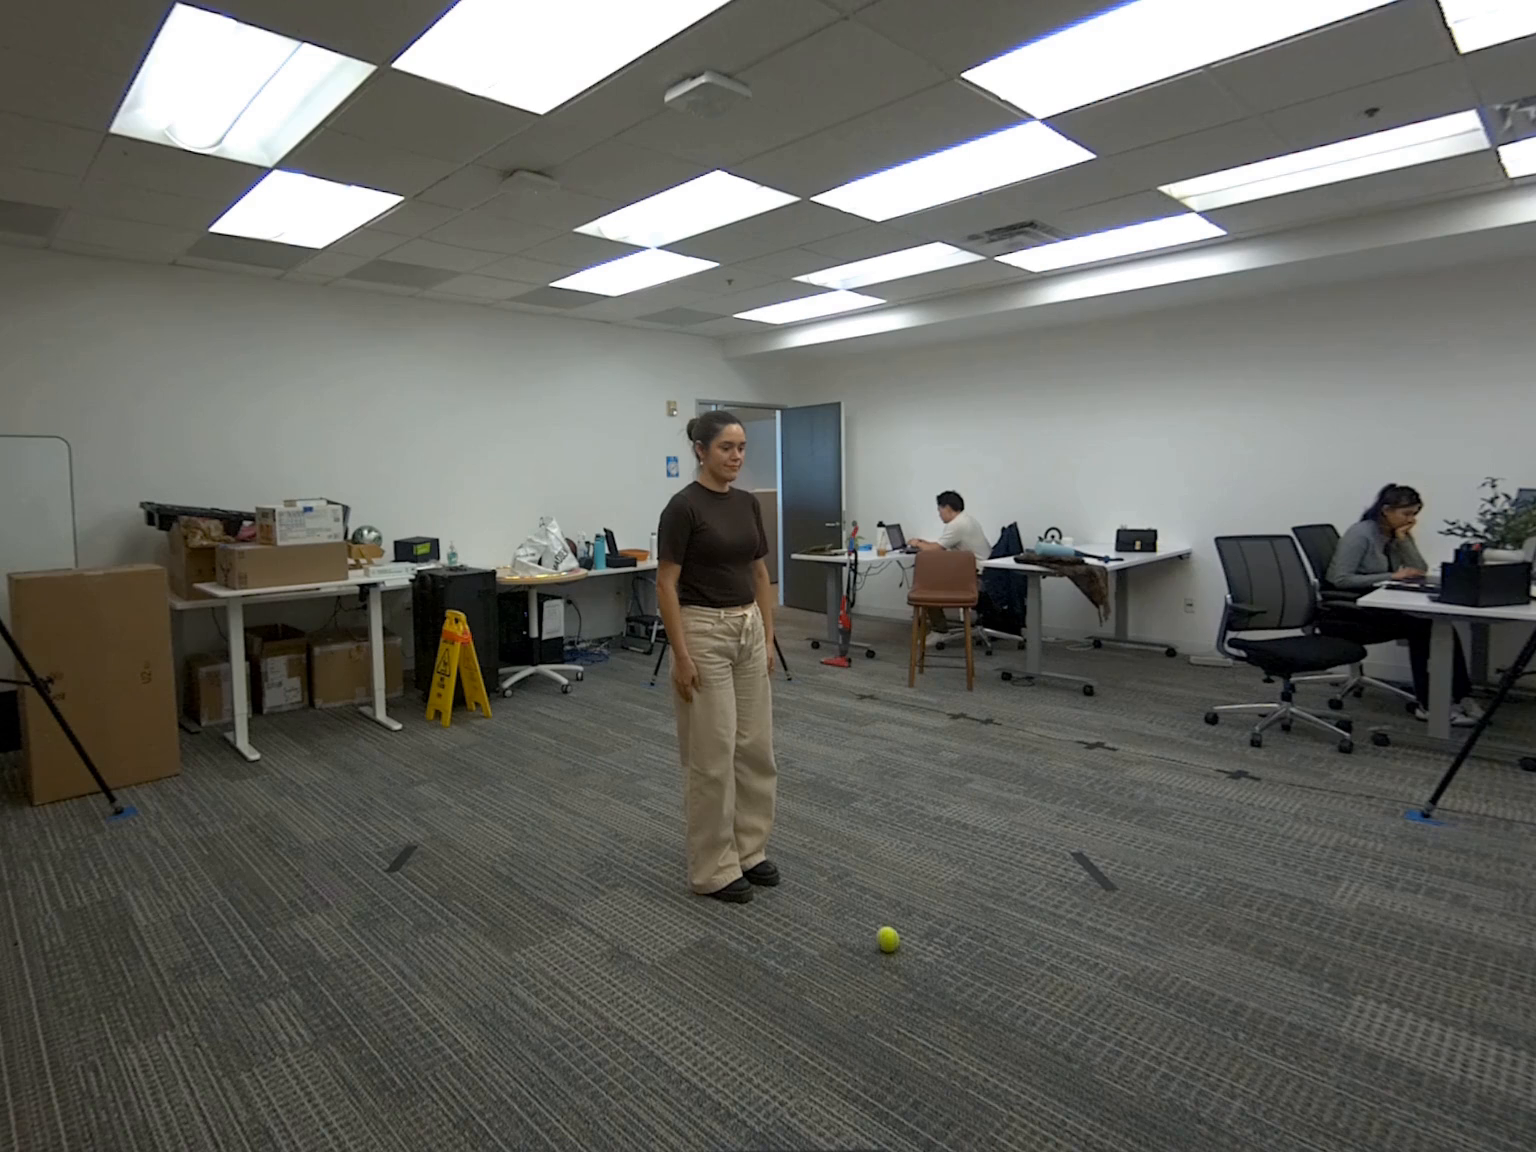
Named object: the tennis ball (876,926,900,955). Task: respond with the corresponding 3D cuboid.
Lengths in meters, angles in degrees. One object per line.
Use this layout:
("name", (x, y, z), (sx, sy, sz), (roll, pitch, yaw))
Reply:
("tennis ball", (0.358, 1.057, 2.515), (0.066, 0.066, 0.067), (-1, 5, -2))
